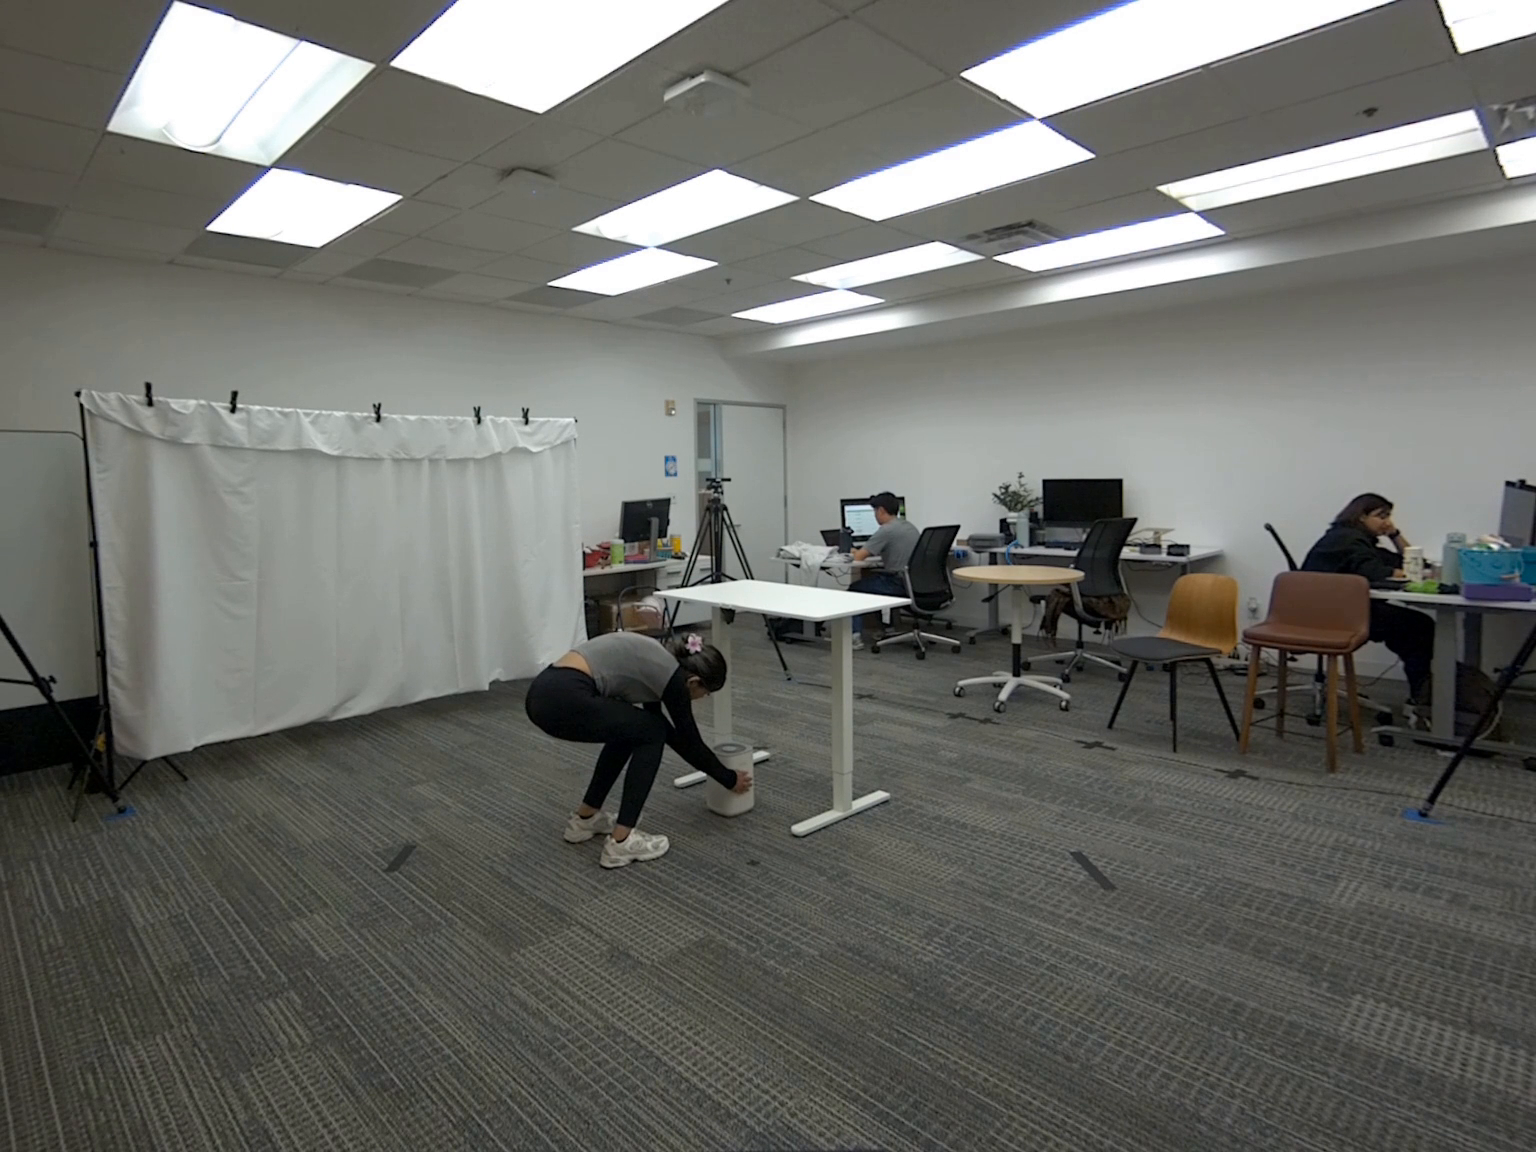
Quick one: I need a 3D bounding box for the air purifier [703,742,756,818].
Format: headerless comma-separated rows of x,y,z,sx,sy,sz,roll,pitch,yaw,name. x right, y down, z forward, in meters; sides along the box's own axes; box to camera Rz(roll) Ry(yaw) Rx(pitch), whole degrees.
-0.161,0.855,3.604,0.177,0.265,0.166,2,3,44,air purifier
